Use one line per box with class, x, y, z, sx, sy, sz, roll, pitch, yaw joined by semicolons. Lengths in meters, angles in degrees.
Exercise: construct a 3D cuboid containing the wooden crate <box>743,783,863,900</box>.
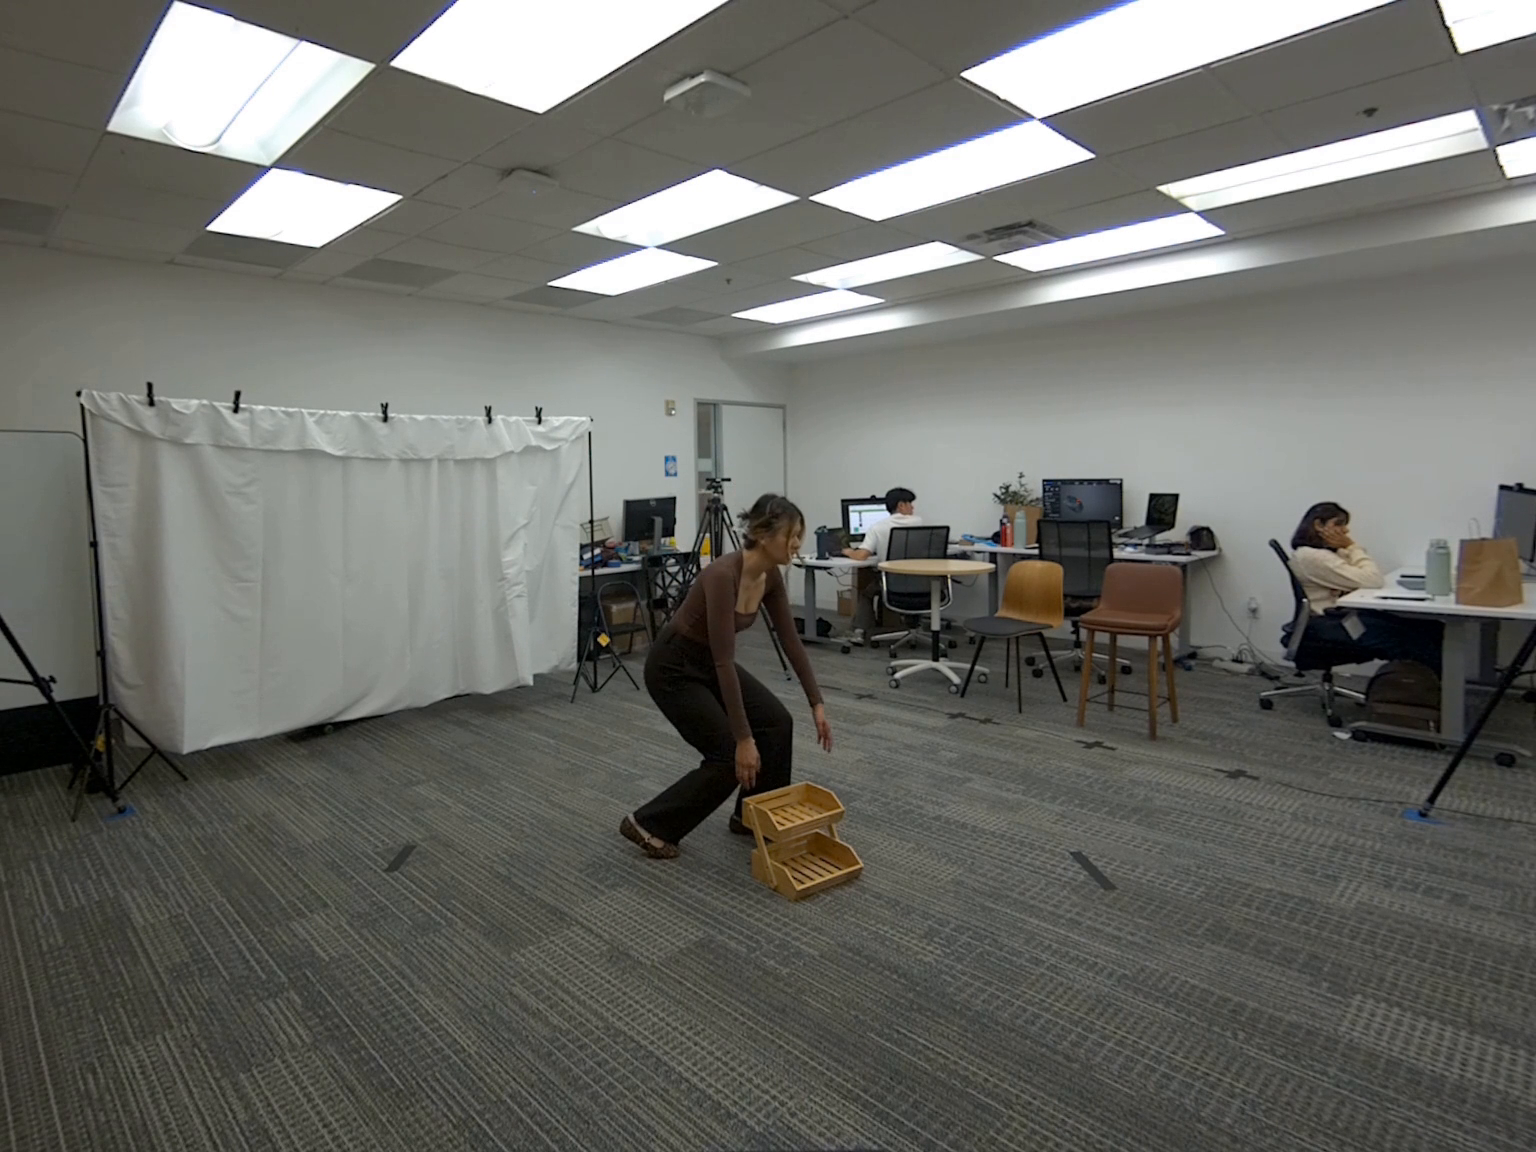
wooden crate;0.123;0.917;3.001;0.316;0.272;0.311;-5;6;-37
